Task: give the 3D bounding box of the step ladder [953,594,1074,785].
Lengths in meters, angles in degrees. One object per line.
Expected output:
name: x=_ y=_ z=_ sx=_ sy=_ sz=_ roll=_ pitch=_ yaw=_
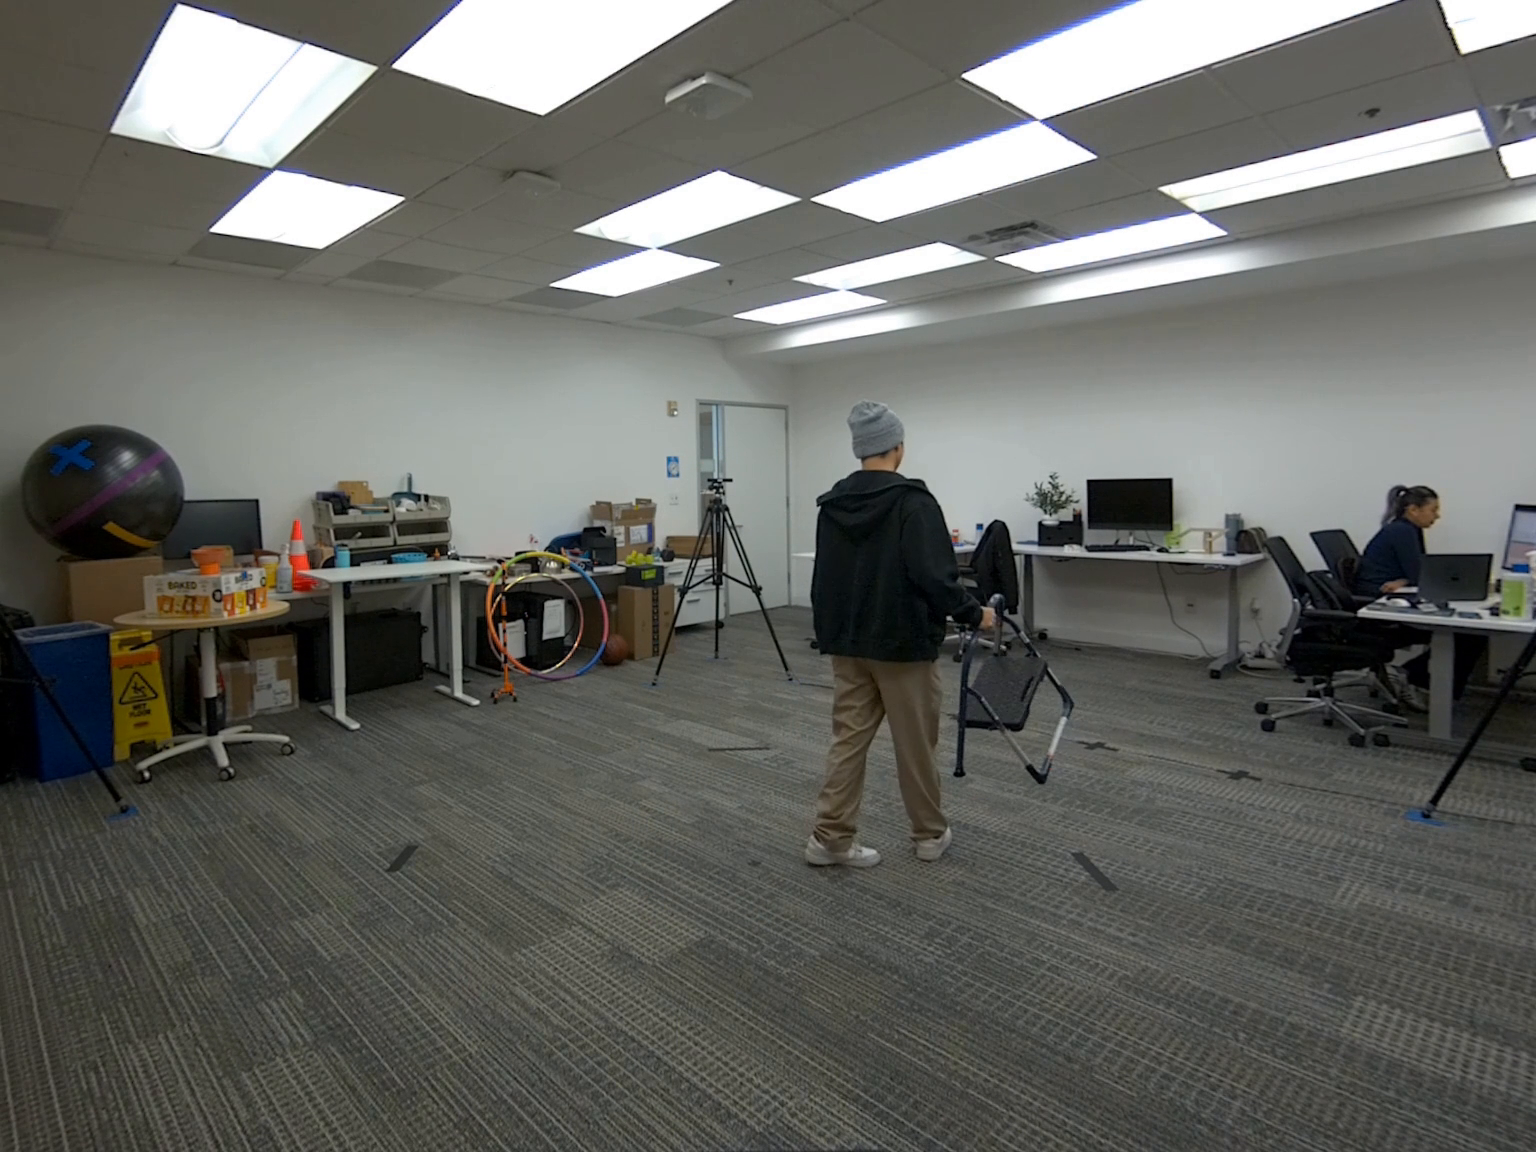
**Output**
step ladder: x=0.807 y=0.376 z=3.127 sx=0.358 sy=0.590 sz=0.431 roll=-6 pitch=31 yaw=40
